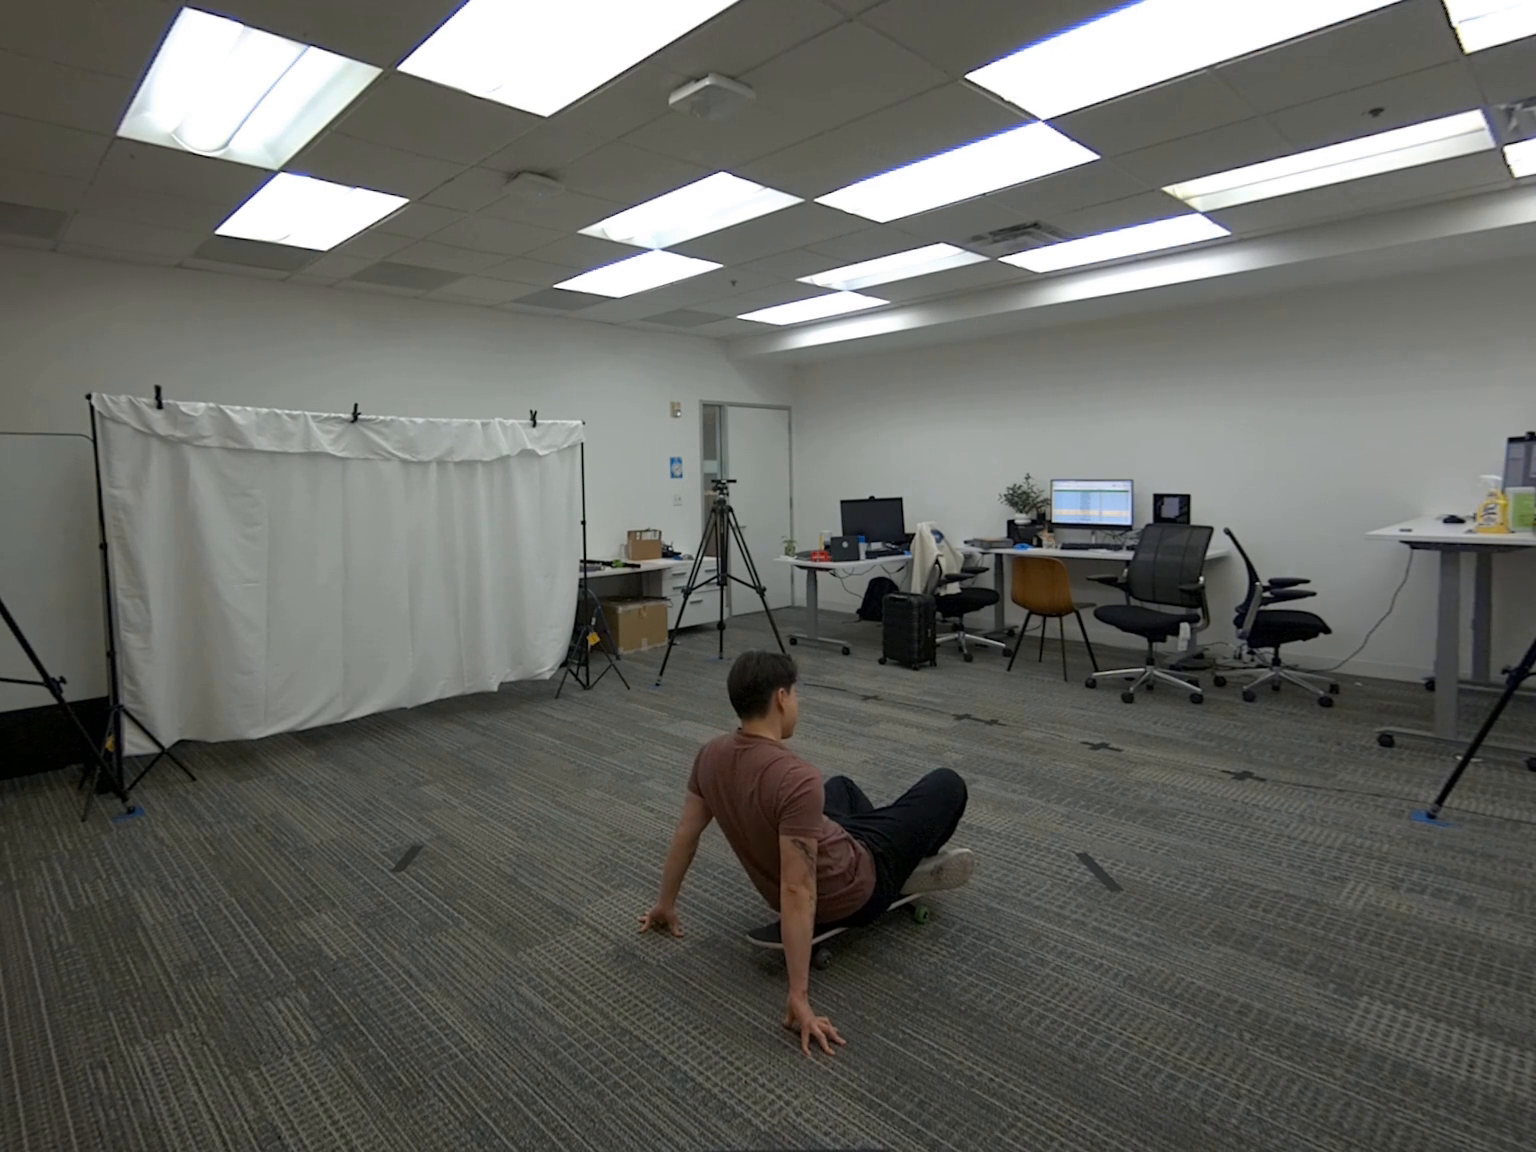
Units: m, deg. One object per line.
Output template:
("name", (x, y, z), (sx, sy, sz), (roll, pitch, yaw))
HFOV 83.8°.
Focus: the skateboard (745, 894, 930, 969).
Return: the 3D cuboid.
("skateboard", (0.267, 1.050, 2.633), (0.766, 0.111, 0.197), (-7, -3, -34))
